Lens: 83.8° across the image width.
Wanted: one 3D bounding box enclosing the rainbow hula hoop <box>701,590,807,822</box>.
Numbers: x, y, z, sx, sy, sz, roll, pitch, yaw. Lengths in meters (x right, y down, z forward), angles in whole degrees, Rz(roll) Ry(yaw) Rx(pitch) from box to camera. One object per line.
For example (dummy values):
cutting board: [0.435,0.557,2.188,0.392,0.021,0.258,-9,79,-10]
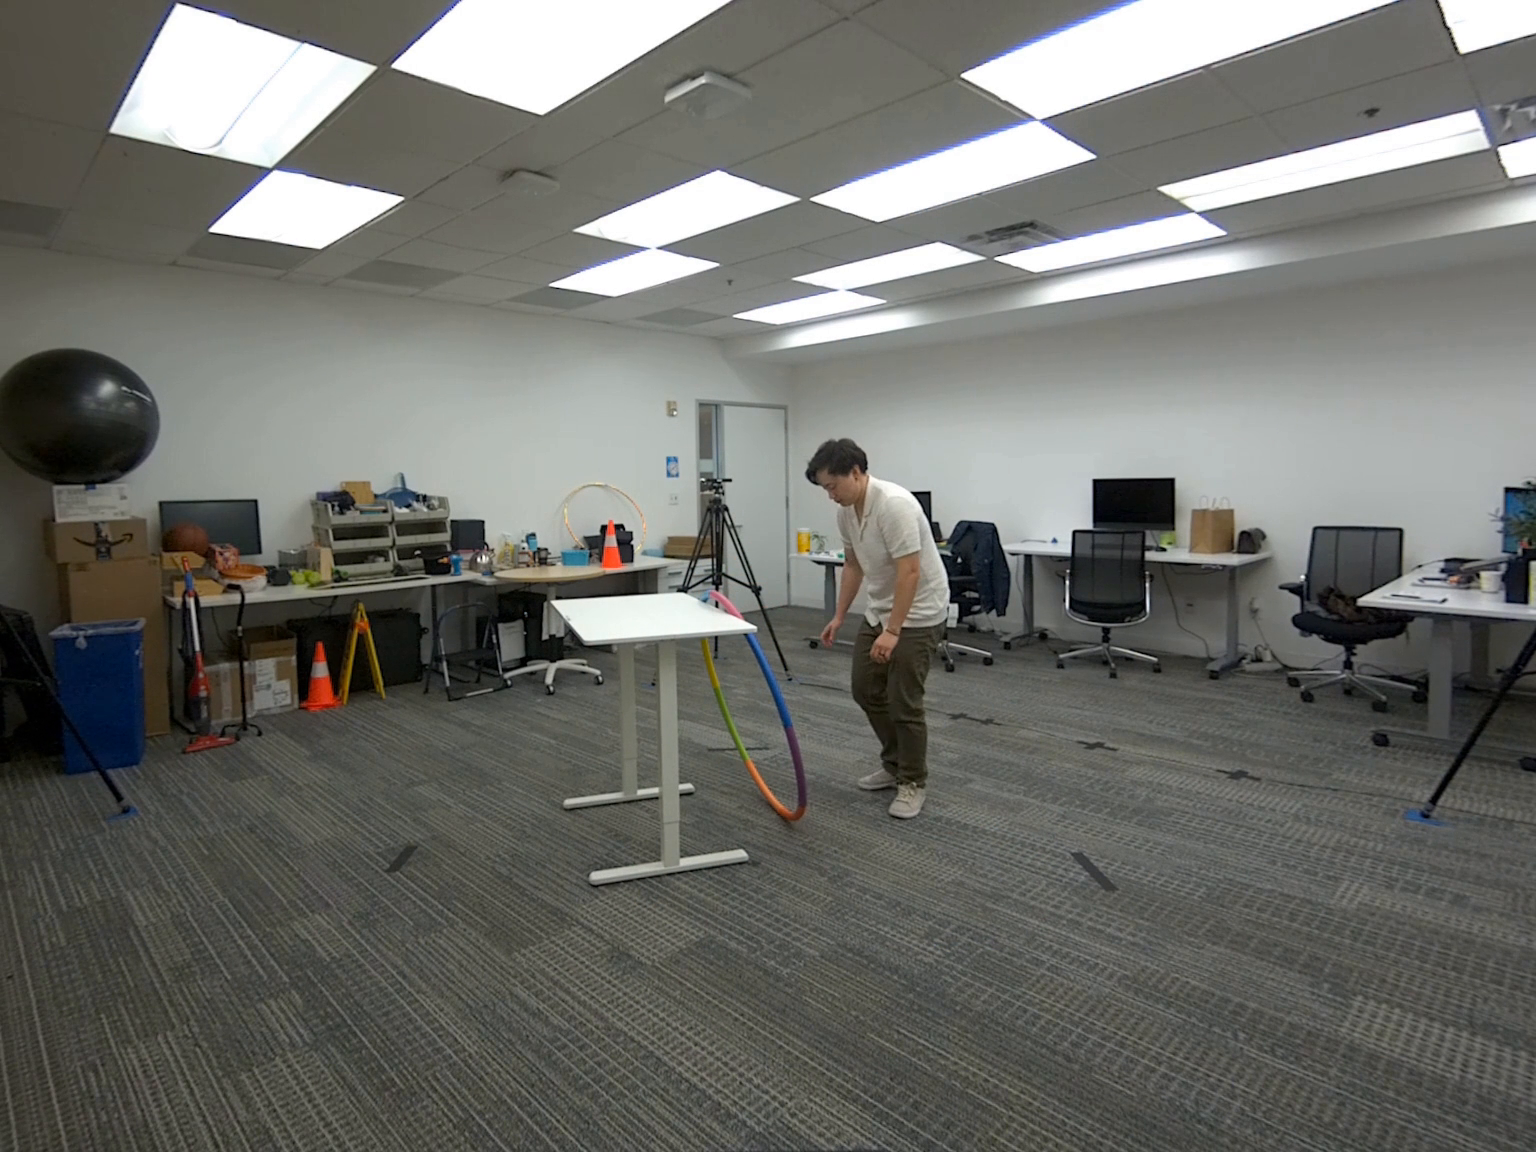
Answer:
rainbow hula hoop: [-0.071,0.524,3.520,0.035,0.969,0.999,-18,10,-18]
